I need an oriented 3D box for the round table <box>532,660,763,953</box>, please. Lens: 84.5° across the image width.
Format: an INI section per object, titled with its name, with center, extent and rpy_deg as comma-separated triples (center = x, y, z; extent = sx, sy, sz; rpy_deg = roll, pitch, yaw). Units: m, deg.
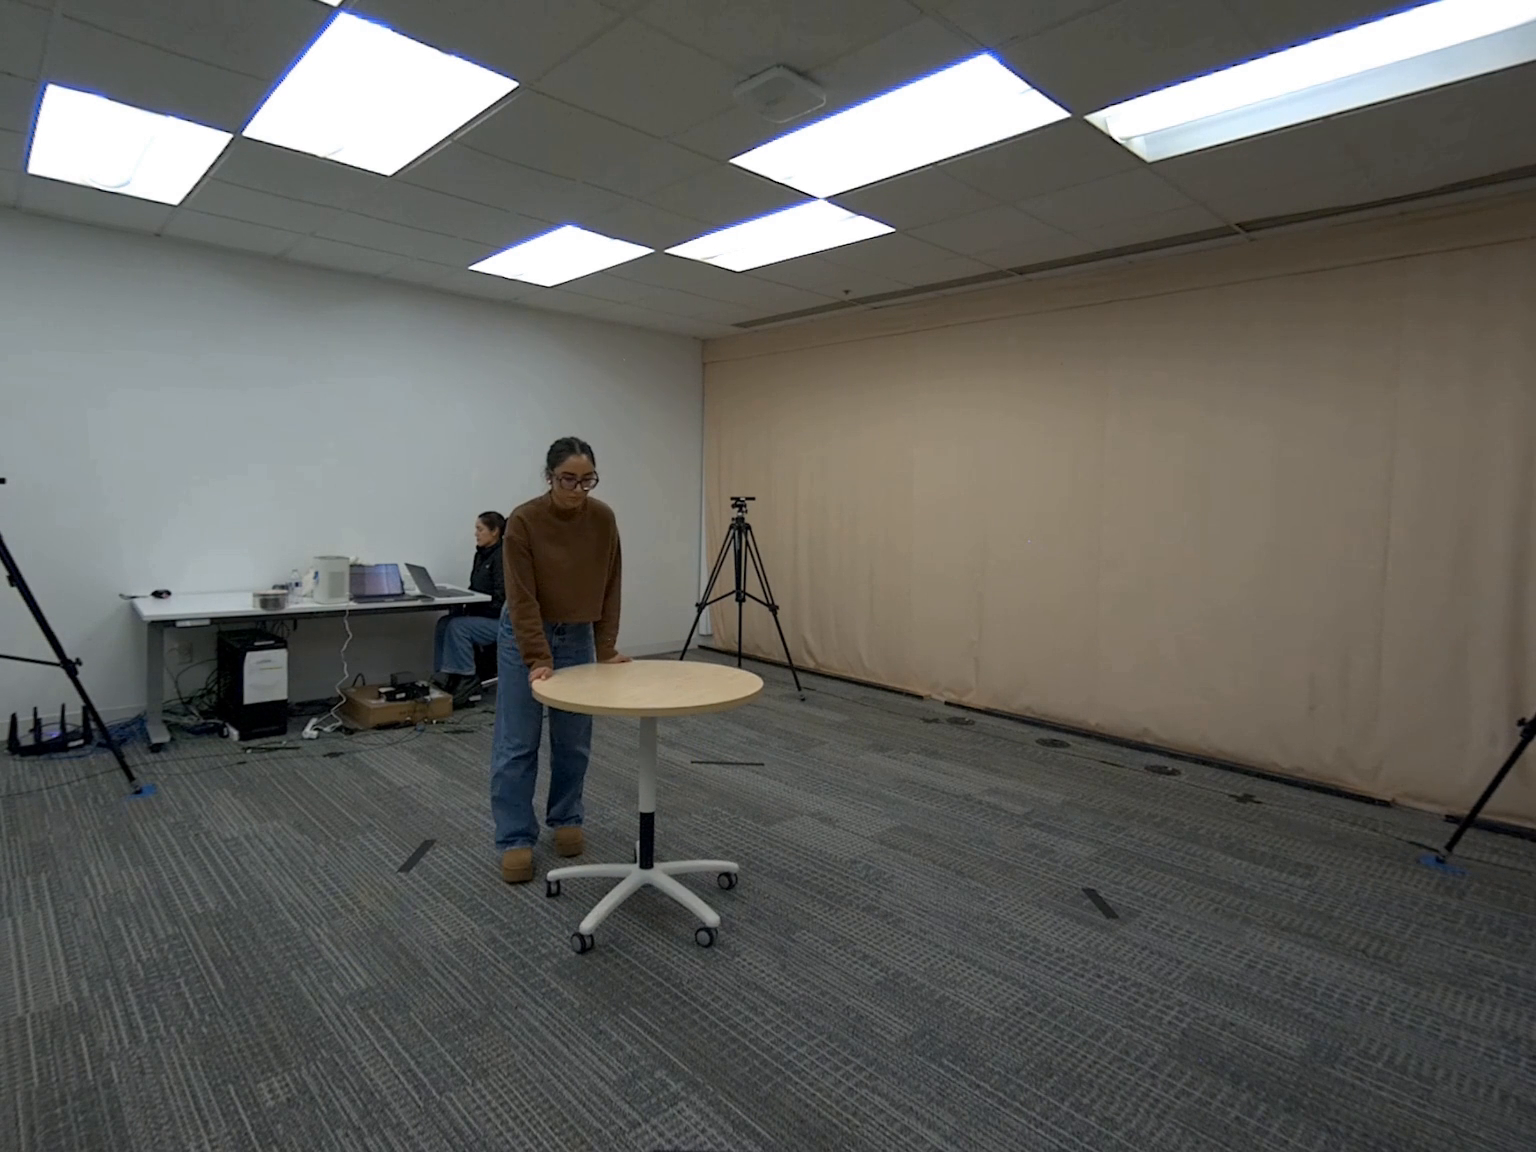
[round table]
center = -0.416, 0.742, 2.829
extent = 0.763, 0.792, 0.766
rpy_deg = 1, 4, -1
